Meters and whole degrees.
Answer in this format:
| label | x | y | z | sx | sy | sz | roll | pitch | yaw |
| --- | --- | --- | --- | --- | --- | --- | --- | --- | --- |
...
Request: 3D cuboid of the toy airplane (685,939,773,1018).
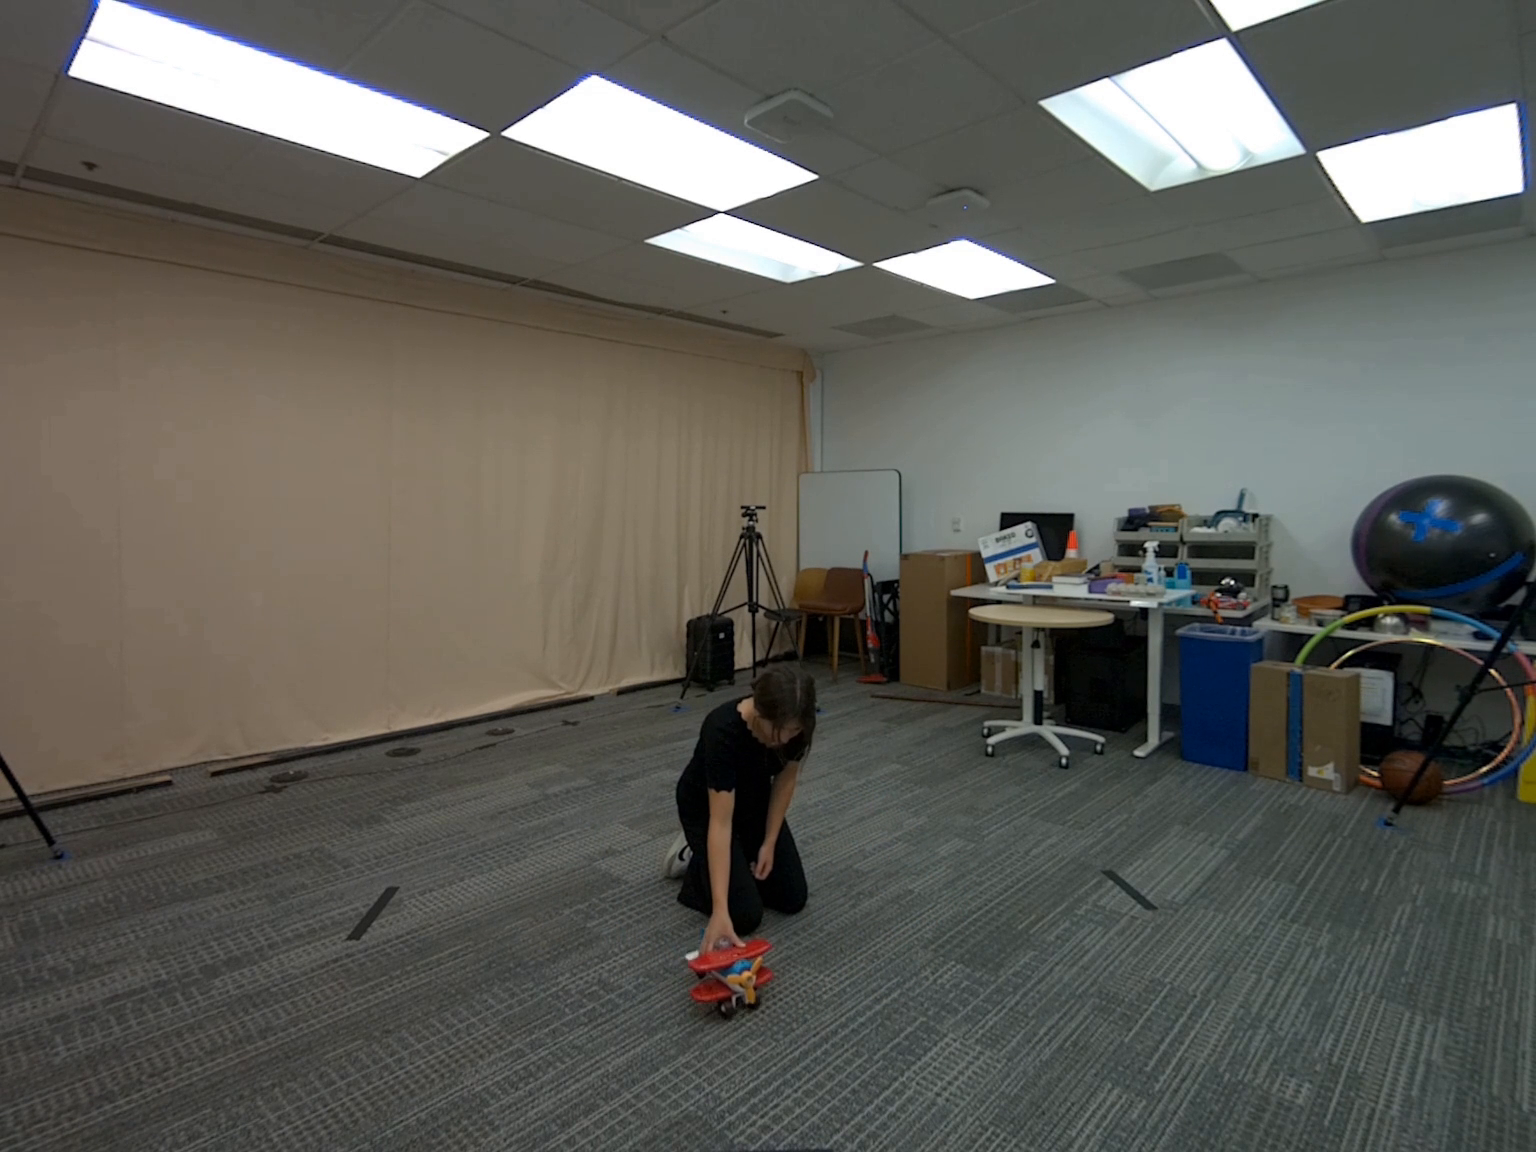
| label | x | y | z | sx | sy | sz | roll | pitch | yaw |
| --- | --- | --- | --- | --- | --- | --- | --- | --- | --- |
| toy airplane | -0.132 | 1.107 | 2.371 | 0.267 | 0.155 | 0.245 | 10 | 11 | 27 |
